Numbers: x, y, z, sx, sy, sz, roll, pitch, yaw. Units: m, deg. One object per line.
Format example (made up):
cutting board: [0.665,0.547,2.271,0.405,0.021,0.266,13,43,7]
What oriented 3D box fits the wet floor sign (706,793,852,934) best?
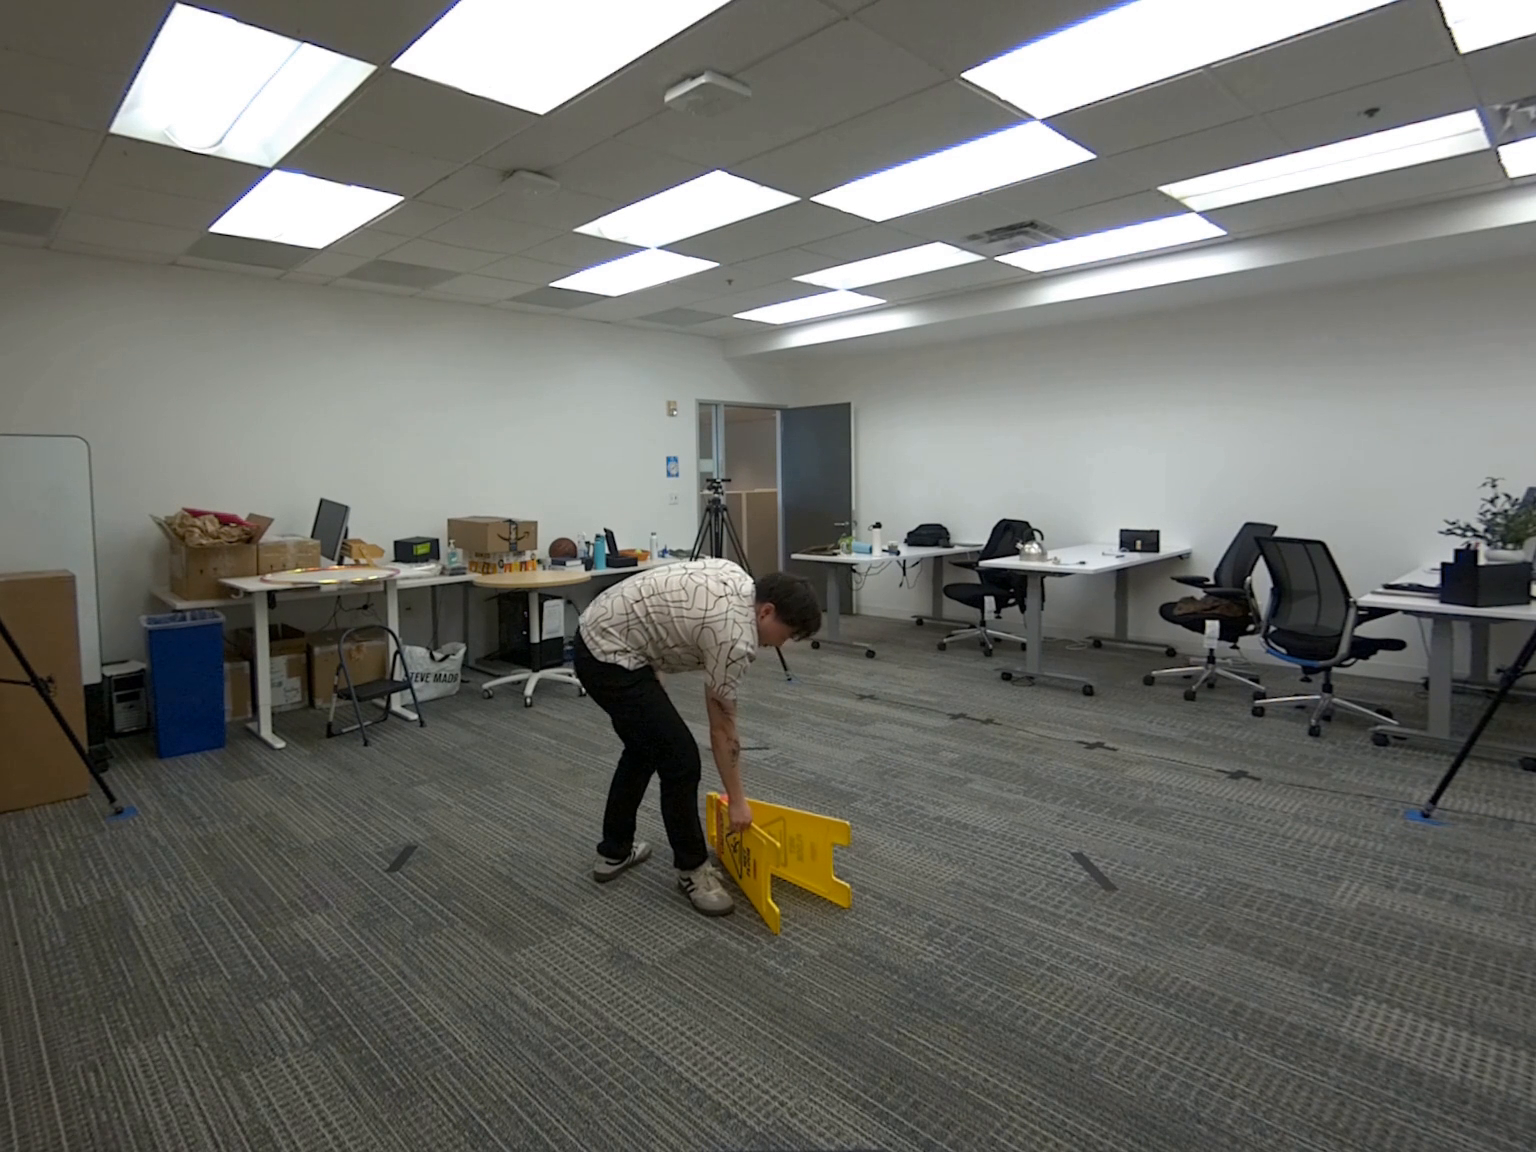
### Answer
wet floor sign: [-0.034,0.932,2.957,0.282,0.281,0.664,-3,4,-34]
